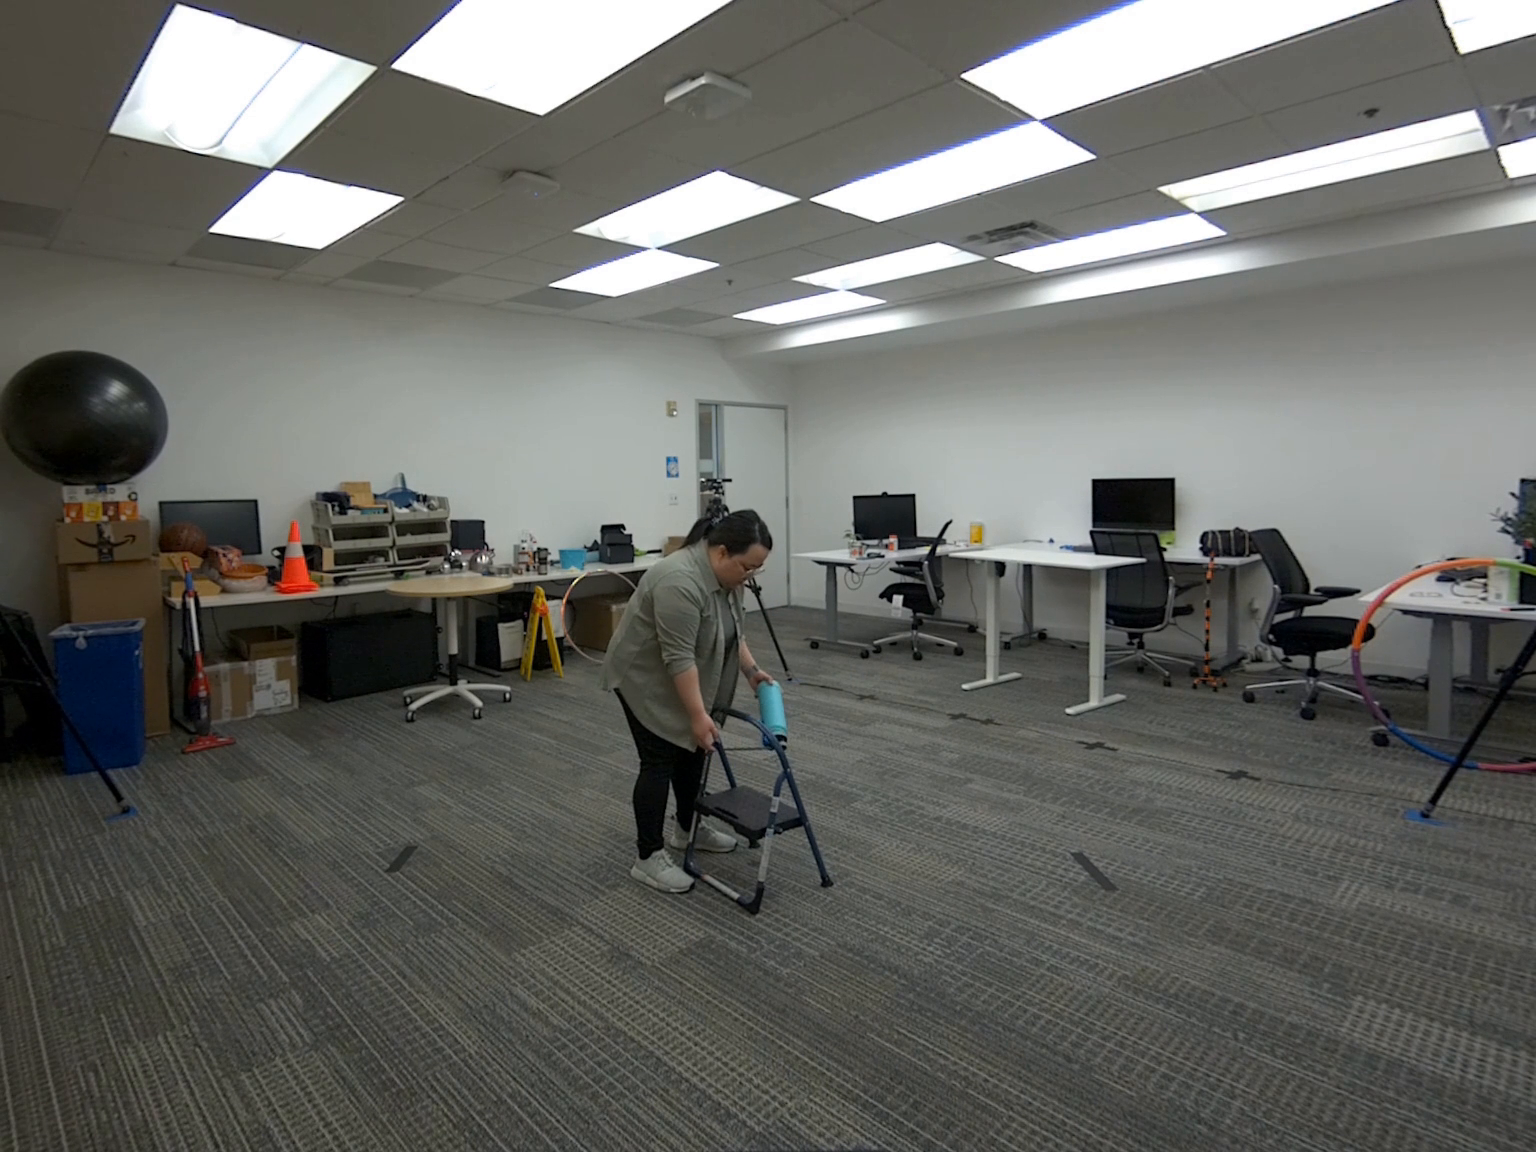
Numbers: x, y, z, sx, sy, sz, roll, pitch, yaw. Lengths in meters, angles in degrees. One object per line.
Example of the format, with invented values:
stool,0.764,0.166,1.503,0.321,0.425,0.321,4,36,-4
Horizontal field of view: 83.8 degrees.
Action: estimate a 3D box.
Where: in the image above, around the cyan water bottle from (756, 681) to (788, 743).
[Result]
cyan water bottle,0.012,0.525,3.082,0.092,0.090,0.292,-2,39,-6
